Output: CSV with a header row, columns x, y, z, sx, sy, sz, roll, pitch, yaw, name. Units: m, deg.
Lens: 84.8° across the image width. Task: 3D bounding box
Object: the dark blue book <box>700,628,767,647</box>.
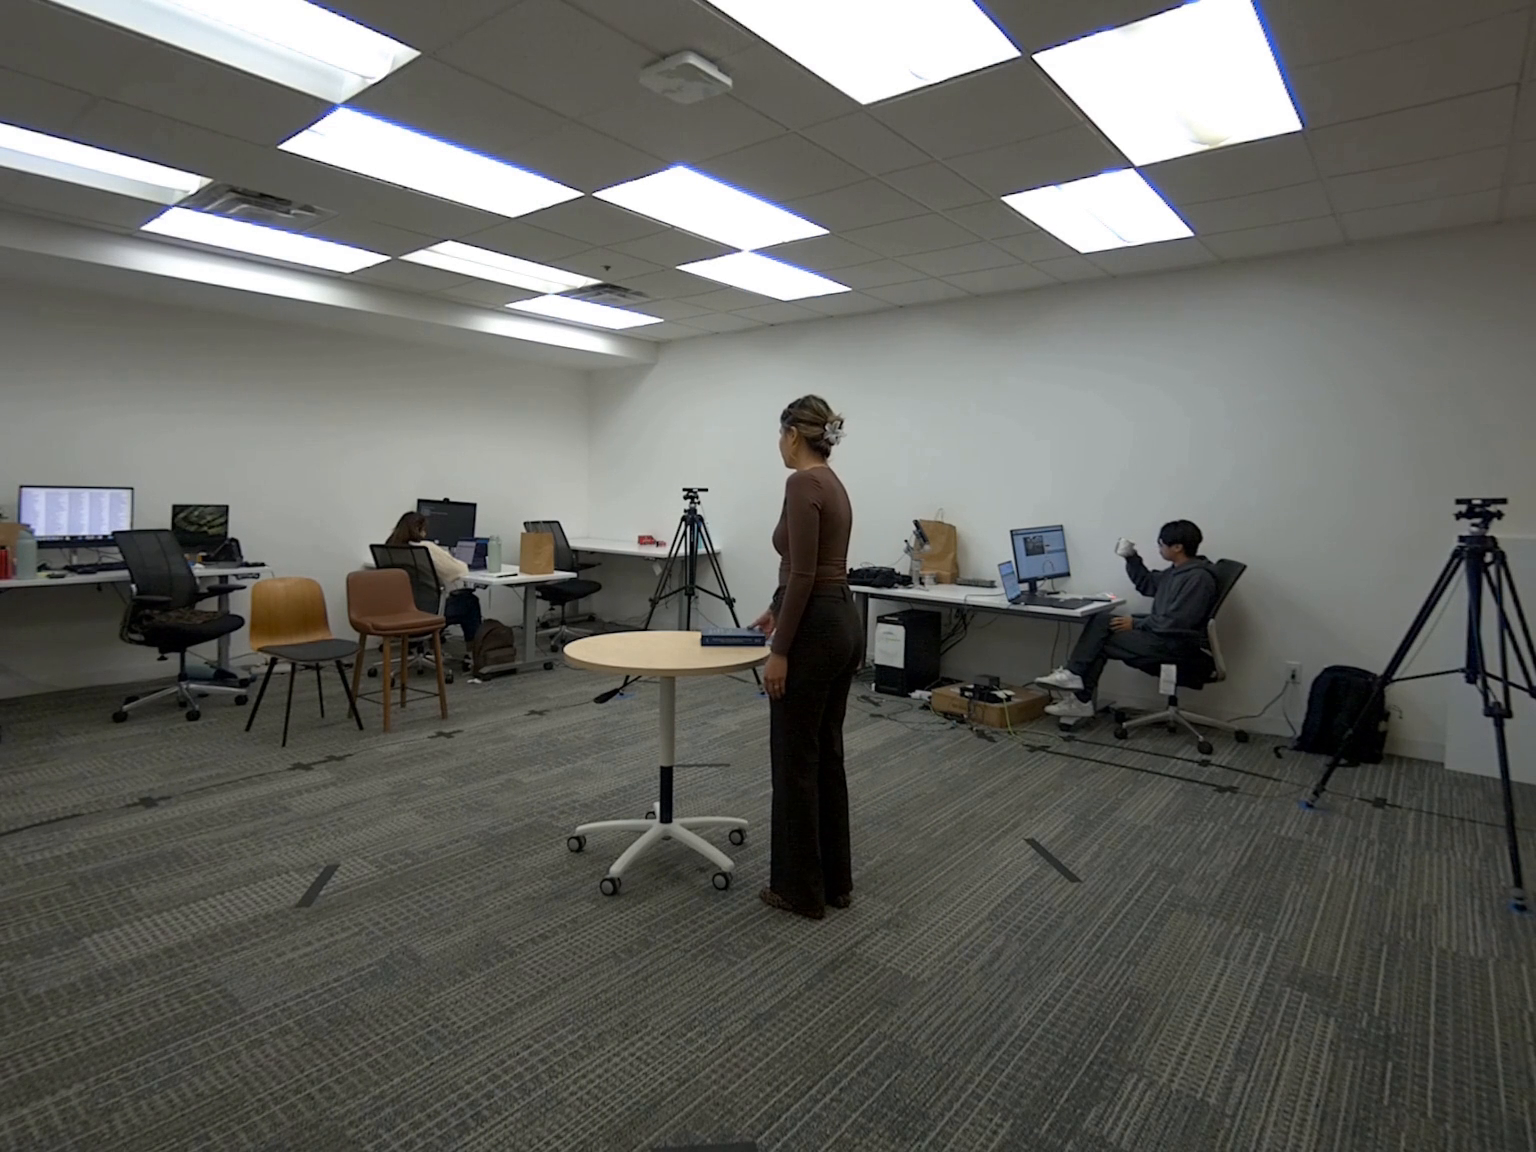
x,y,z,sx,sy,sz,roll,pitch,yaw,name
-0.157,0.233,3.290,0.244,0.045,0.165,0,5,-5,dark blue book
